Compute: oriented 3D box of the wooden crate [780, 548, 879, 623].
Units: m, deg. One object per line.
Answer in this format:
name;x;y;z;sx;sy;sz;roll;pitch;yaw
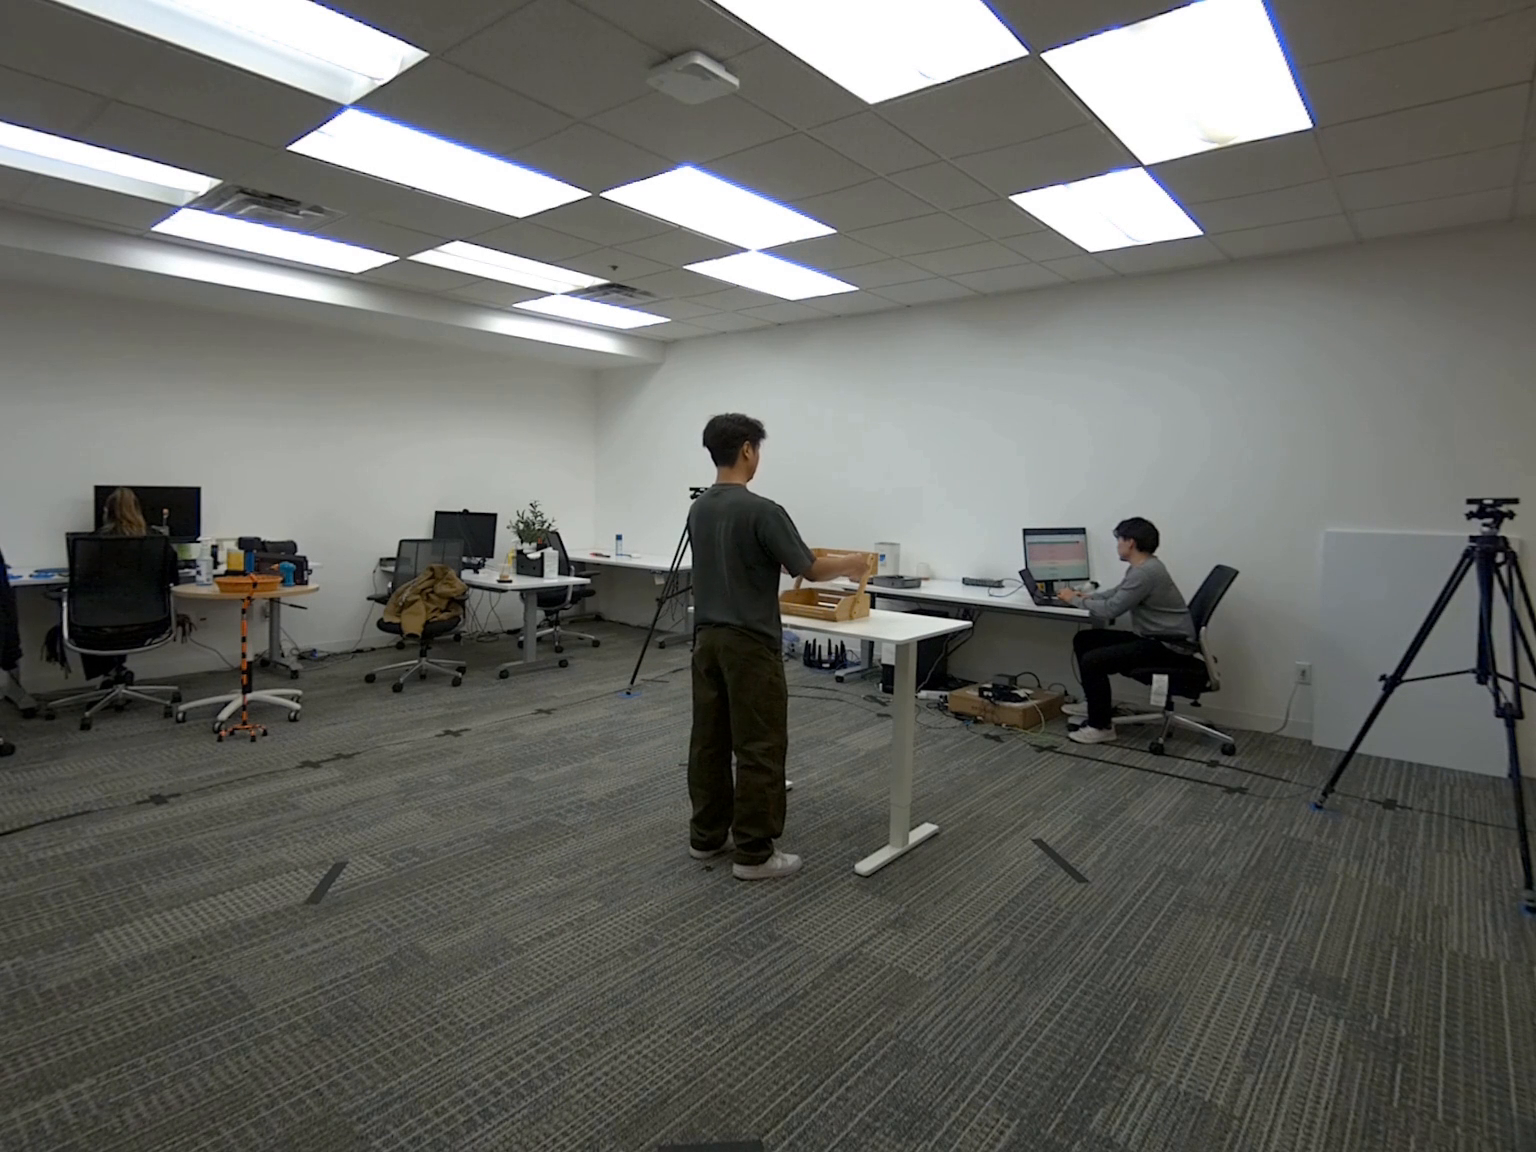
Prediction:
wooden crate;0.233;0.024;3.499;0.335;0.272;0.293;6;6;40
